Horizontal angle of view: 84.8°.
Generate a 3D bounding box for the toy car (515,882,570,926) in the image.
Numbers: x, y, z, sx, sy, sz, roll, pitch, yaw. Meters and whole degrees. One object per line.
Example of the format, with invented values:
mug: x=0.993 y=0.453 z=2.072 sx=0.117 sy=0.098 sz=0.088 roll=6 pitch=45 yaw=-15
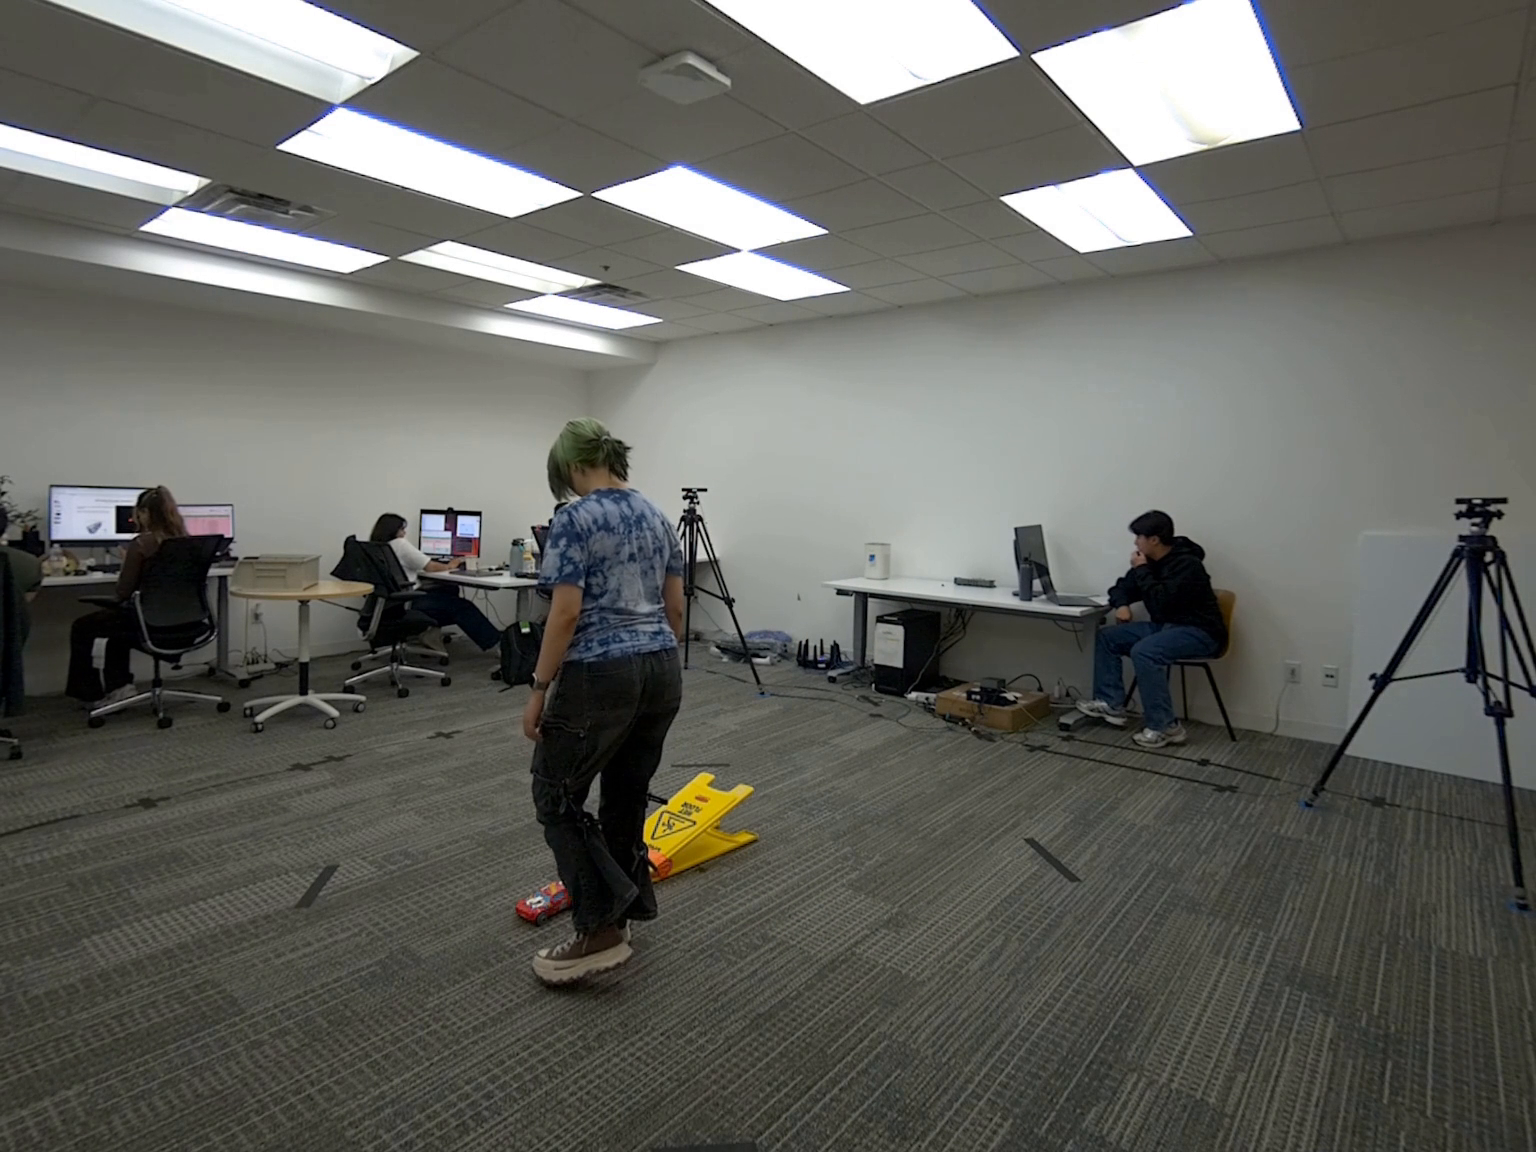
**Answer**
toy car: x=-0.713 y=1.062 z=2.789 sx=0.134 sy=0.082 sz=0.250 roll=3 pitch=17 yaw=36
